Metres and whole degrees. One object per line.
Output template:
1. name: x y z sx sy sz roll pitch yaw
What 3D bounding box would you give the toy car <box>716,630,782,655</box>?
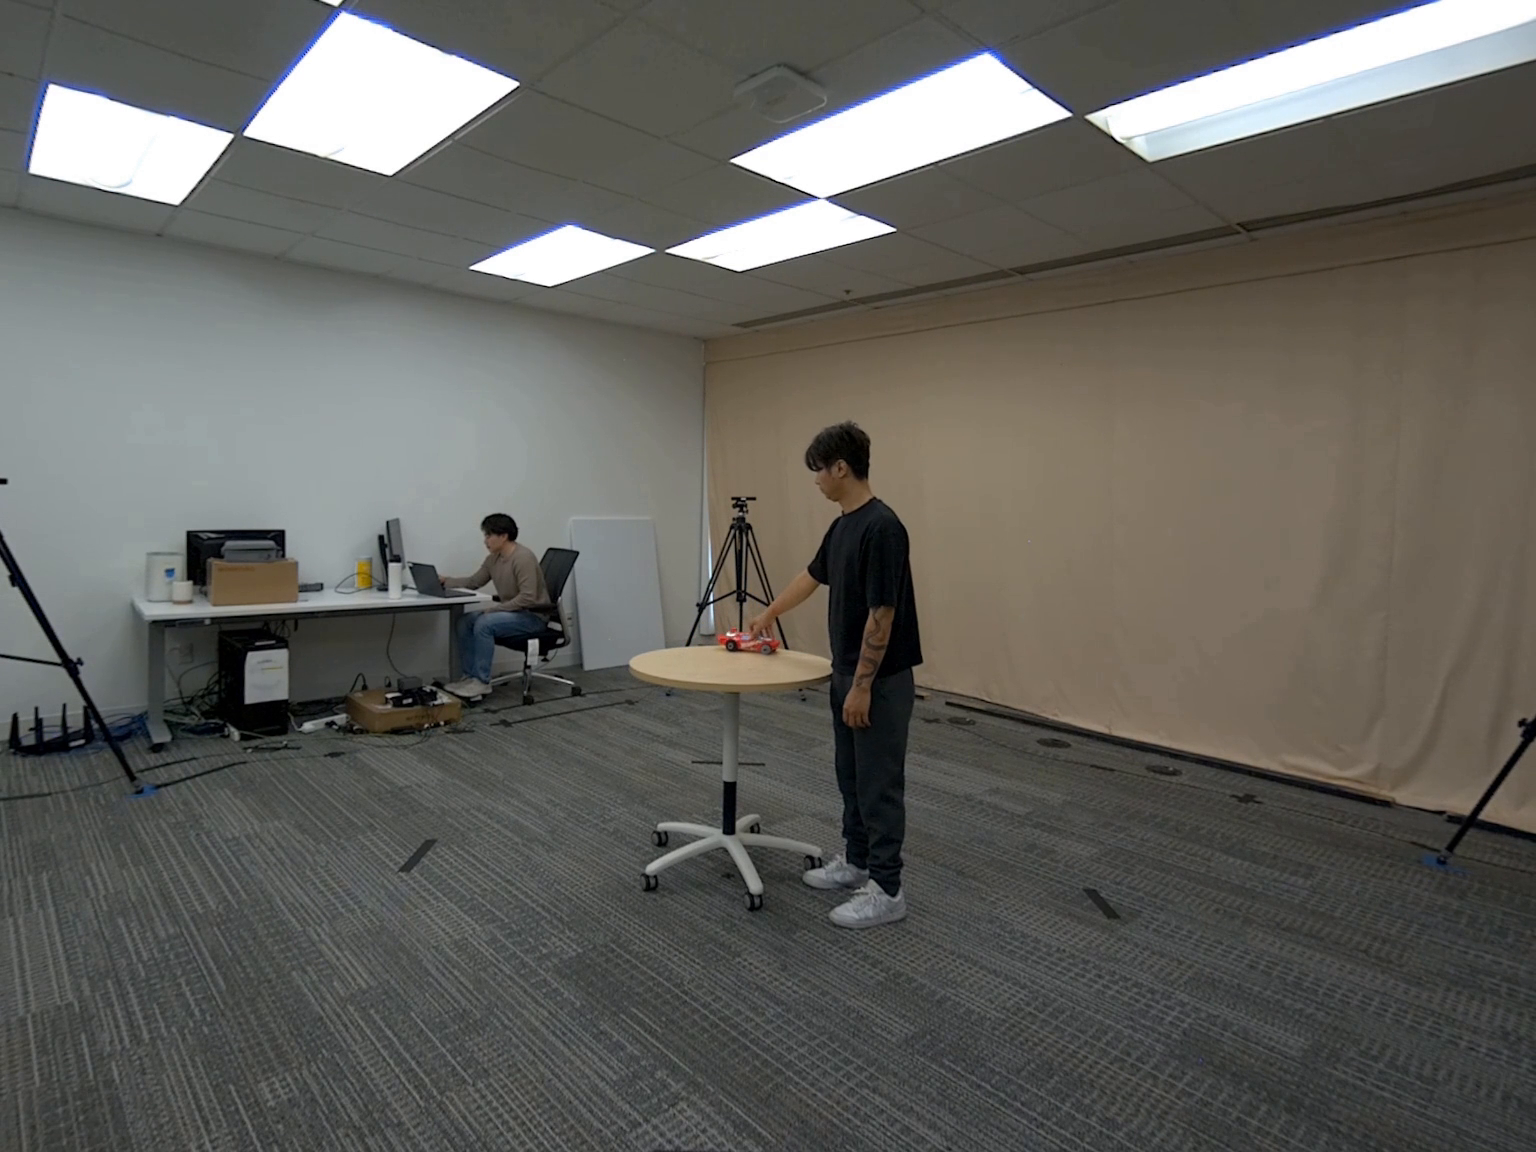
1. toy car: -0.097 0.272 3.390 0.259 0.083 0.129 15 7 17
